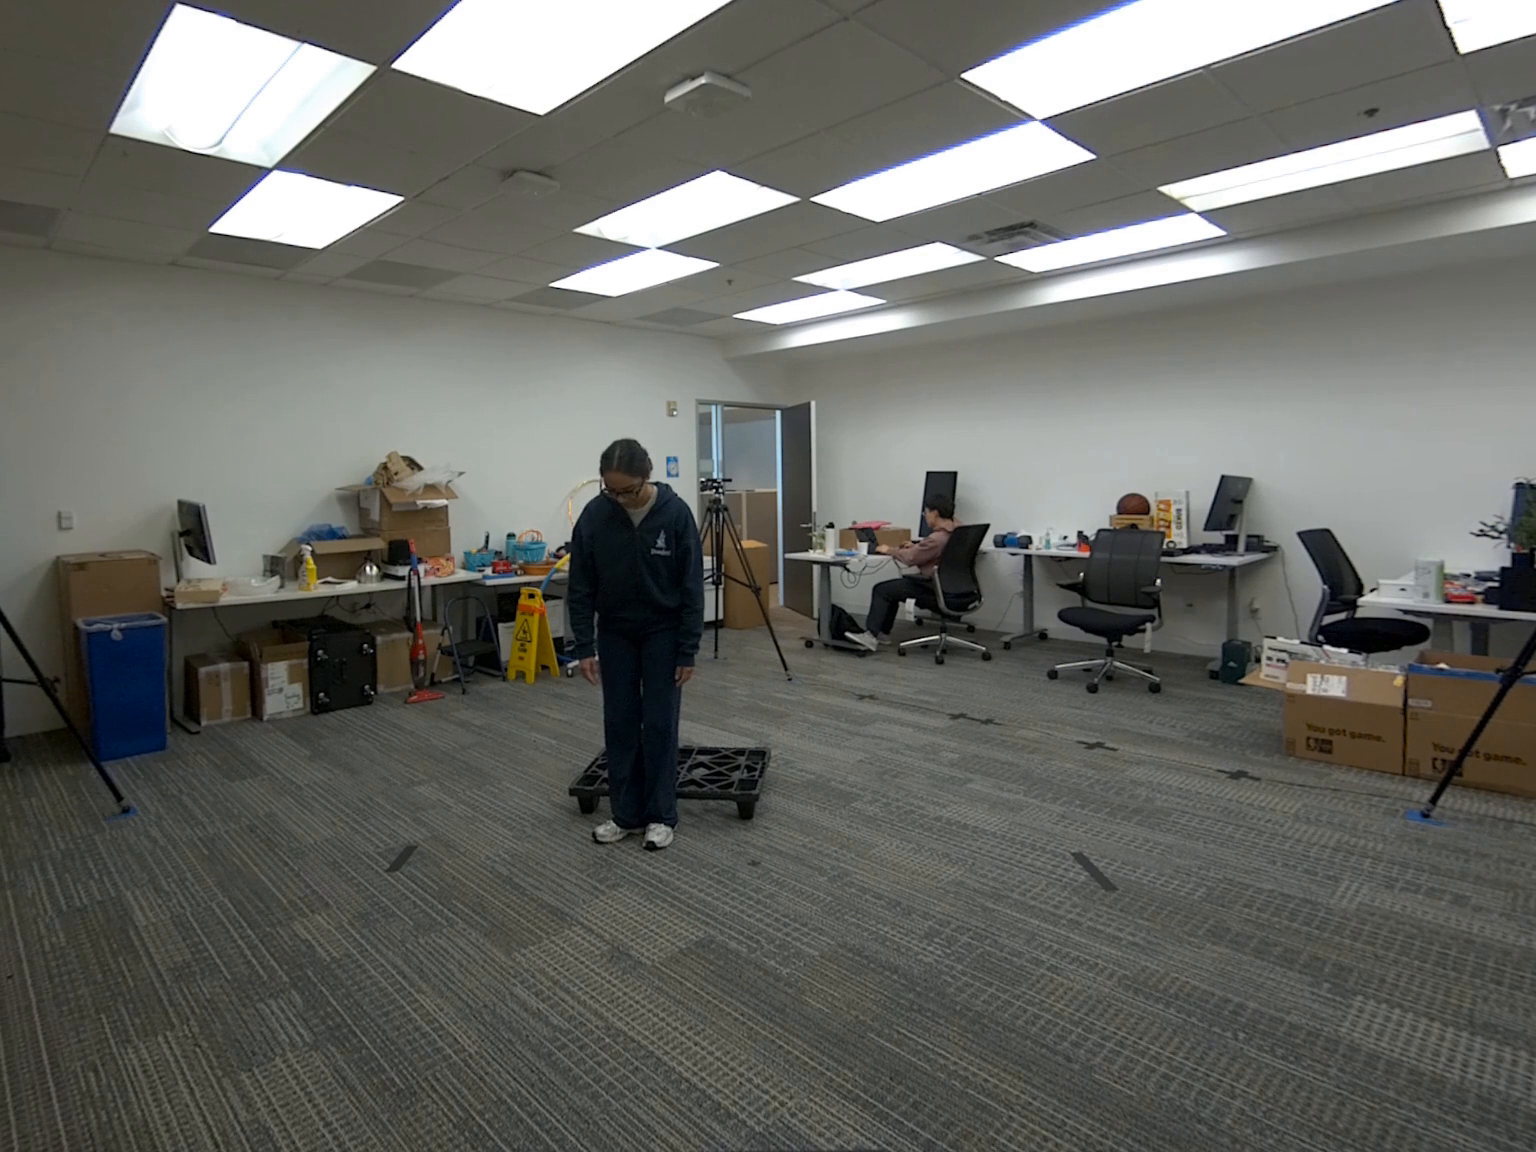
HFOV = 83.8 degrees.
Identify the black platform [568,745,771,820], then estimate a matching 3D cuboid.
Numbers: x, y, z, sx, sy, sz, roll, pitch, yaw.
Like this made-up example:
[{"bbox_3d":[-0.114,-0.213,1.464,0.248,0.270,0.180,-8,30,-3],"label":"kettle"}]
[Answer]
[{"bbox_3d":[-0.406,0.907,3.787,0.812,0.143,0.603,0,5,7],"label":"black platform"}]
